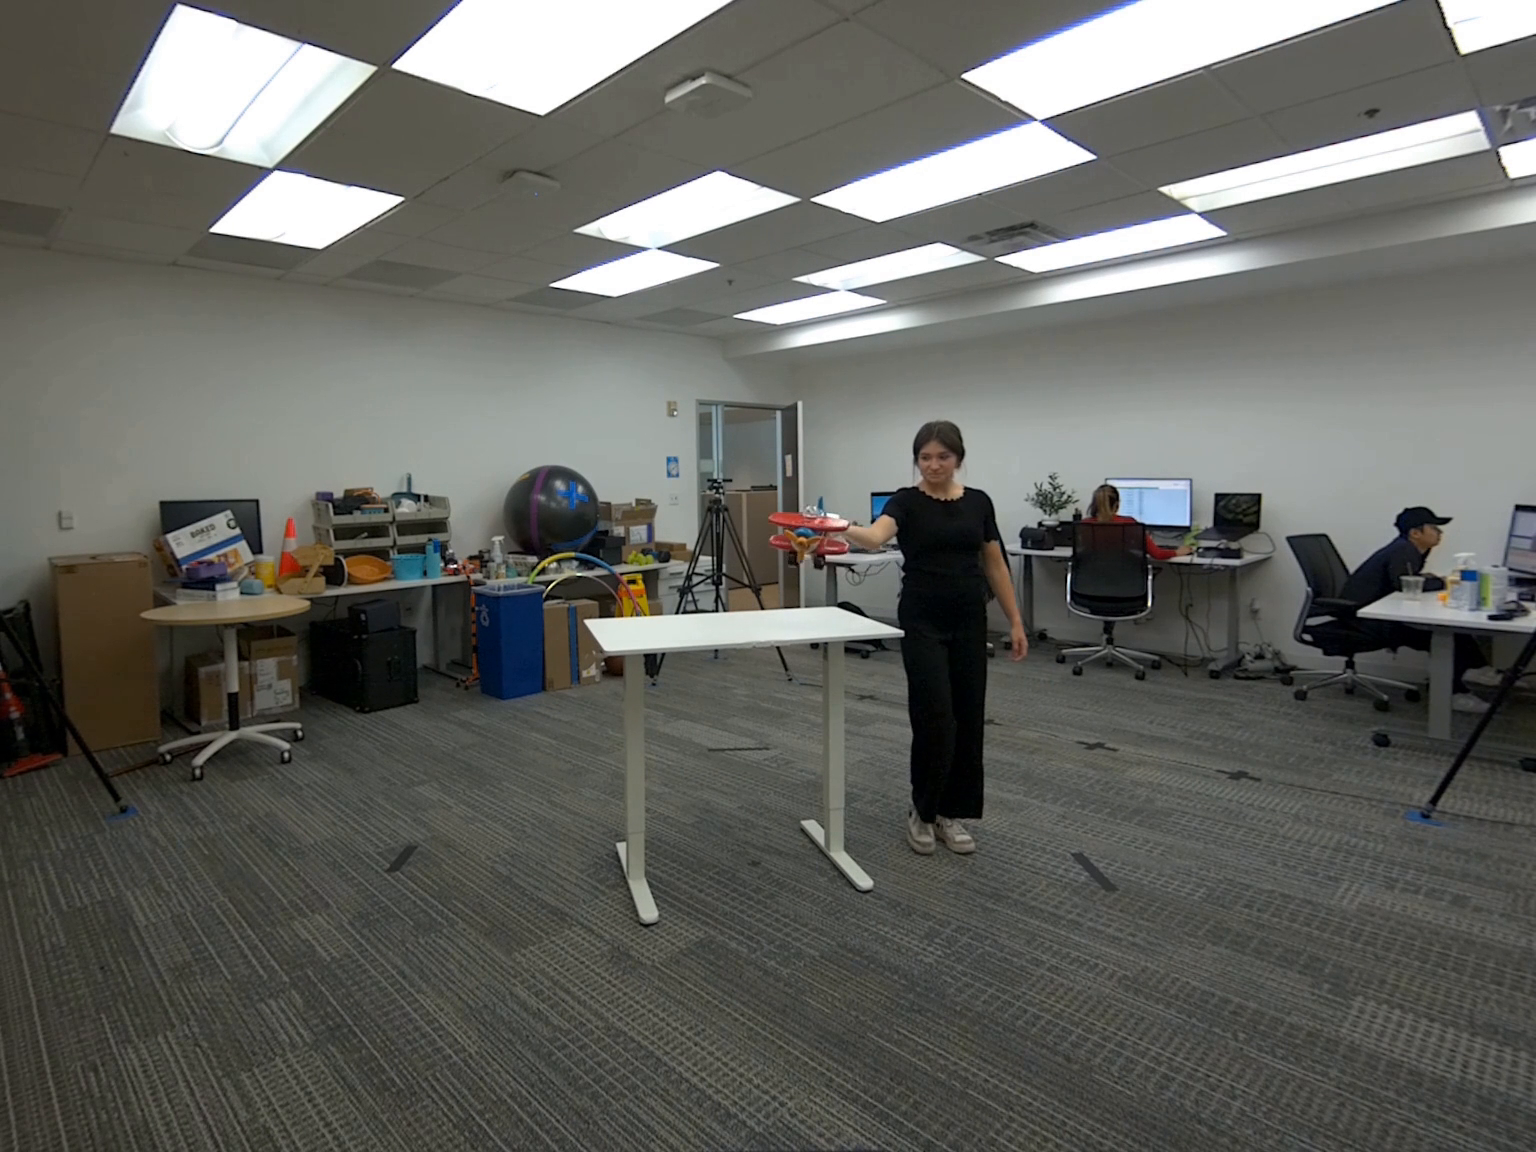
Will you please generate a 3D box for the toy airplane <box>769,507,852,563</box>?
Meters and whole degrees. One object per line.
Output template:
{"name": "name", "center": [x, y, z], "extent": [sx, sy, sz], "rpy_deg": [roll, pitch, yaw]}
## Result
{"name": "toy airplane", "center": [0.123, -0.147, 2.726], "extent": [0.250, 0.152, 0.268], "rpy_deg": [-11, 40, -4]}
